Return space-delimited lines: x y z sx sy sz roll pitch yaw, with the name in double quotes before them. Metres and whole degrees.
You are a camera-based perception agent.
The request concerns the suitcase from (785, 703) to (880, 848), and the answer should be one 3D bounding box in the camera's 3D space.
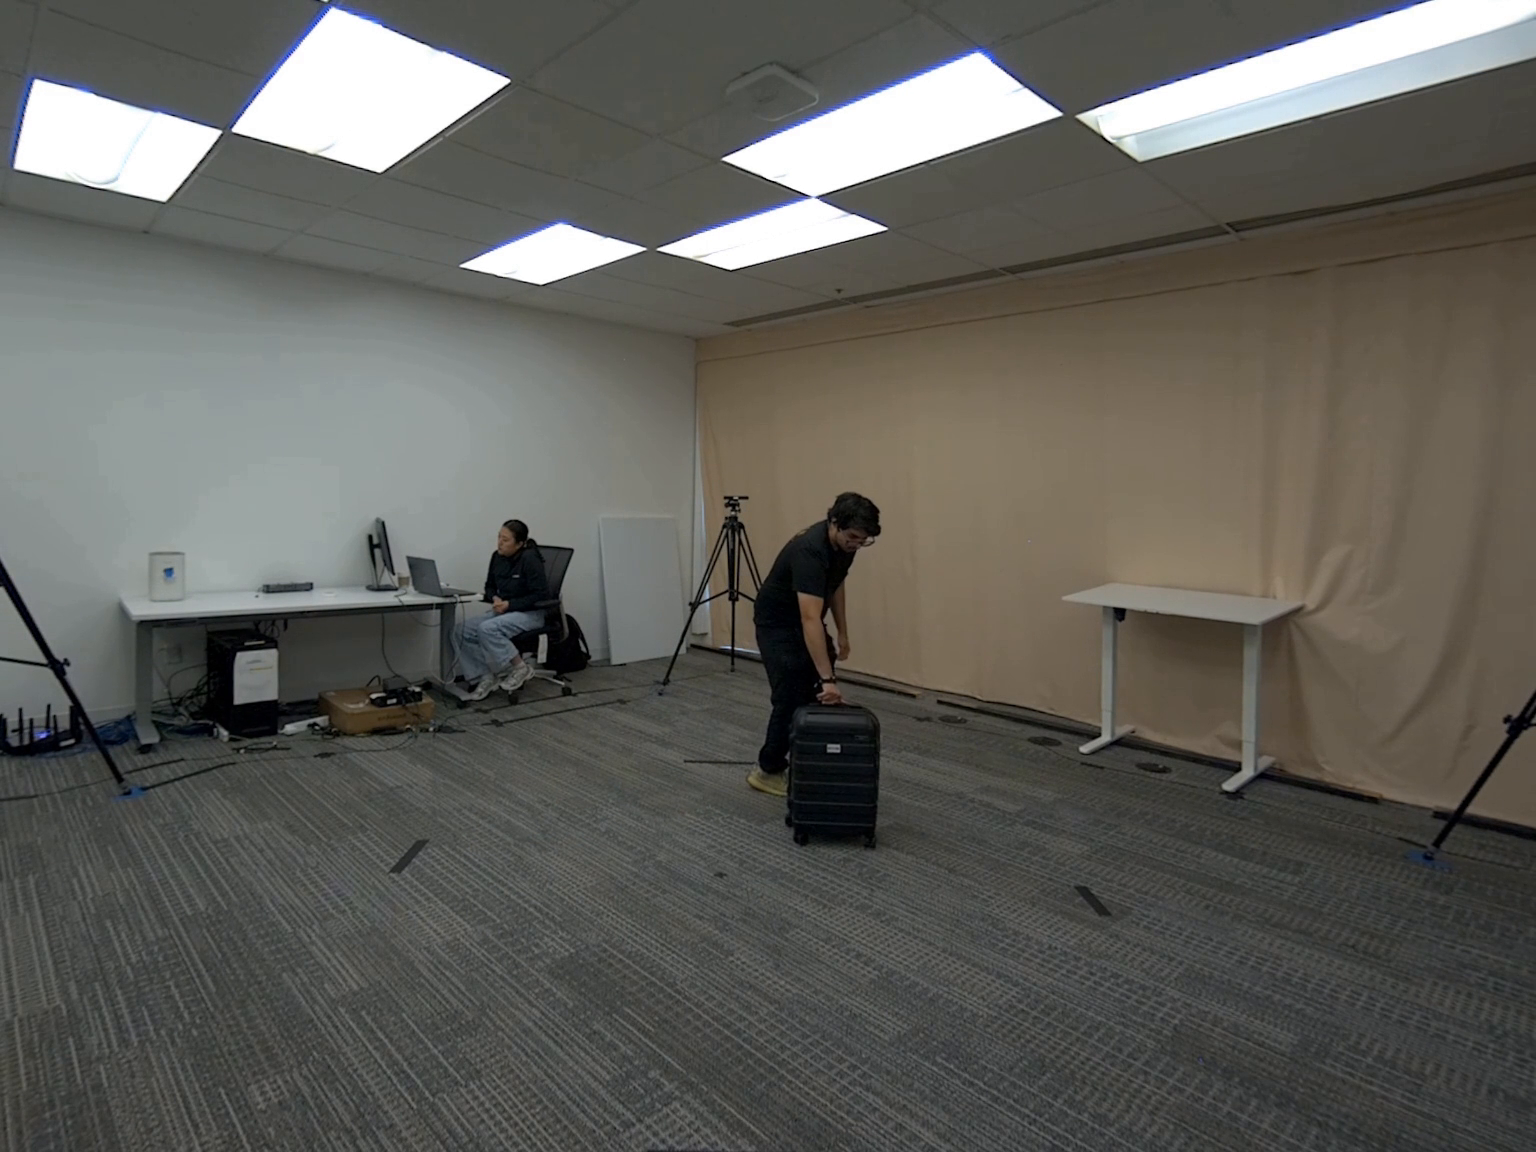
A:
"suitcase" 0.265 0.804 3.467 0.376 0.548 0.248 2 4 2
